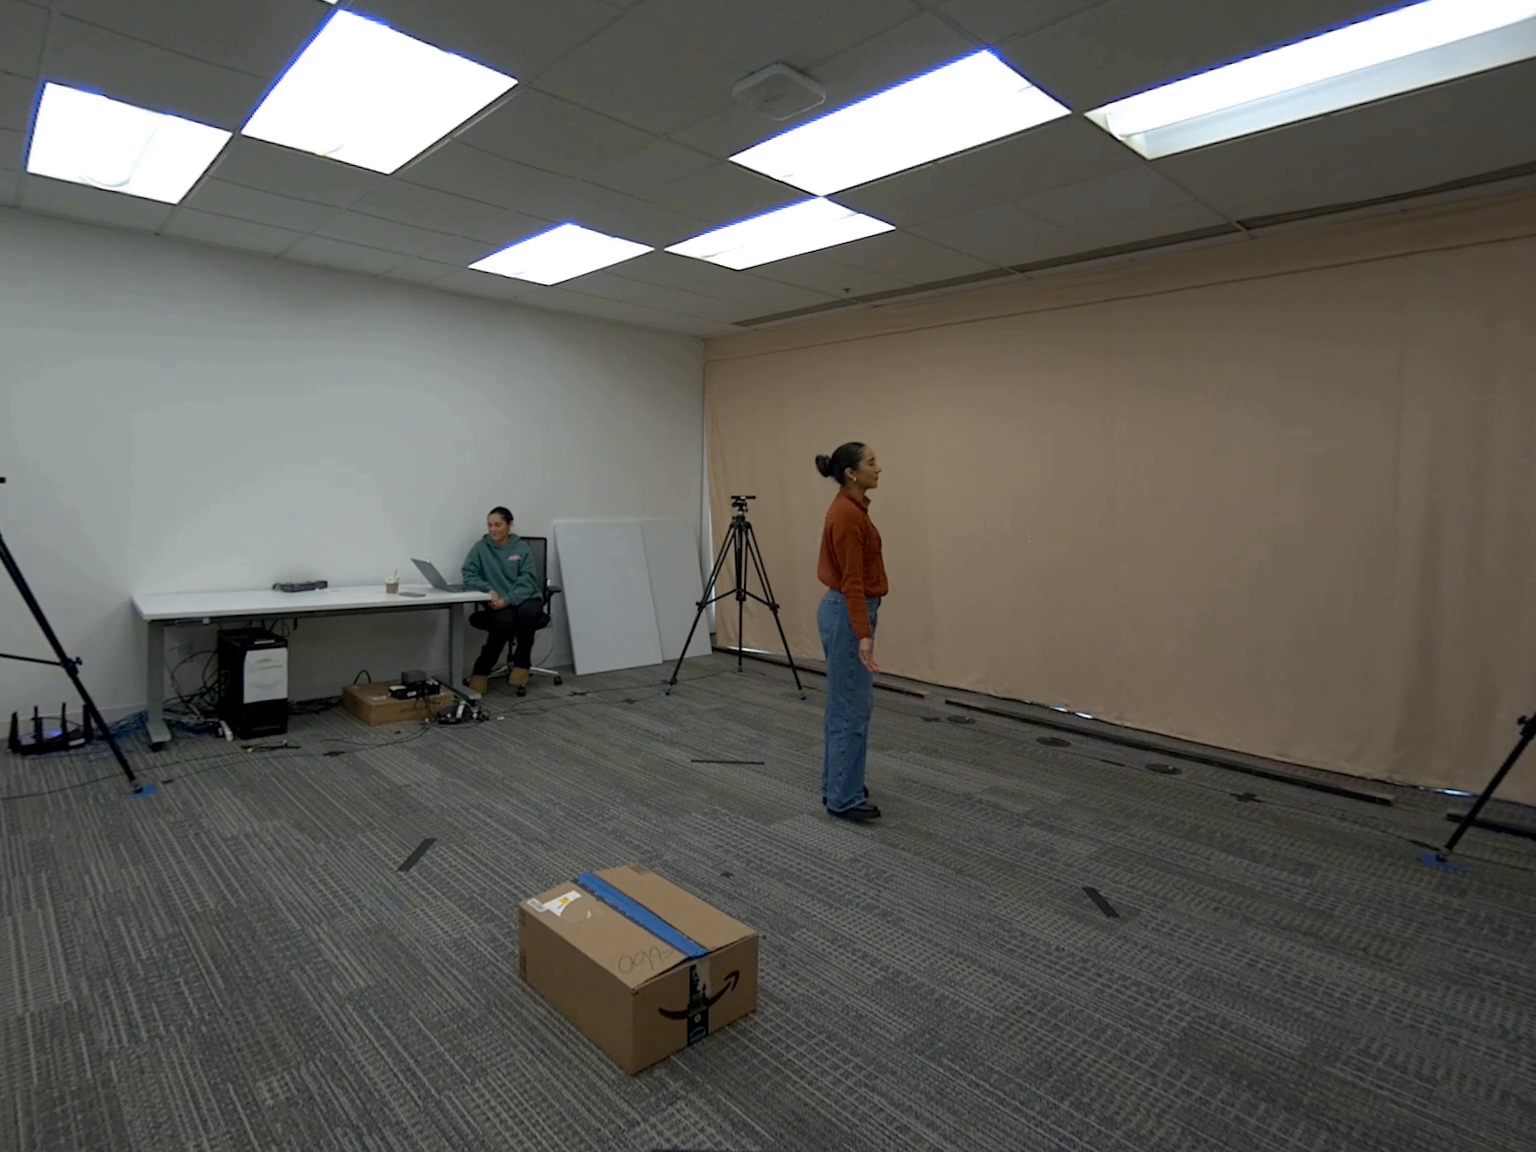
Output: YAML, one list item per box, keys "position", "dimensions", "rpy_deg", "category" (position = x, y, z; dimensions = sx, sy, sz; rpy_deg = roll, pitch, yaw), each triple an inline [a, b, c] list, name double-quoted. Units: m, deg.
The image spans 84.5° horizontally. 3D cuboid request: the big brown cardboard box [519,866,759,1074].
- position: [-0.380, 1.057, 2.350]
  dimensions: [0.408, 0.232, 0.604]
  rpy_deg: [-3, 8, -44]
  category: "big brown cardboard box"
